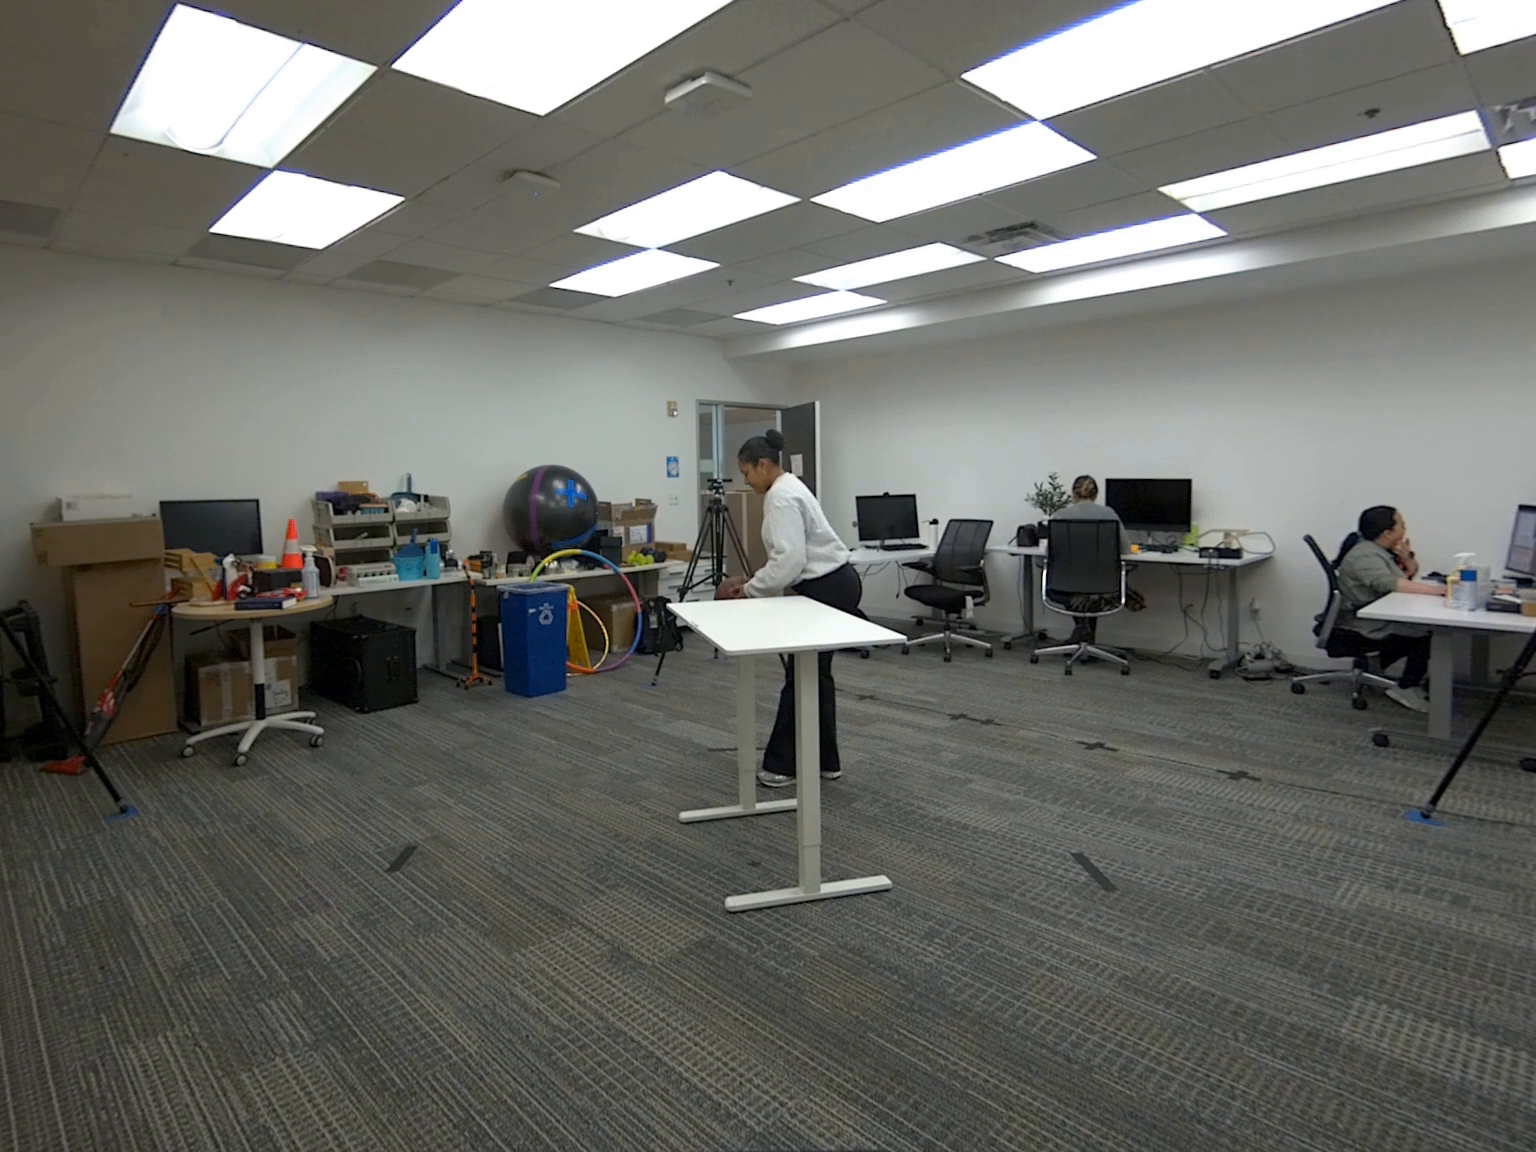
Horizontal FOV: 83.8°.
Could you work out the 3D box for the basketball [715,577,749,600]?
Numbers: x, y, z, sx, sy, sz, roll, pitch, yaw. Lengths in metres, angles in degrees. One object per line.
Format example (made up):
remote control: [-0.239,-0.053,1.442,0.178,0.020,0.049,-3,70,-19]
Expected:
basketball: [-0.122,0.118,4.024,0.236,0.235,0.237,-1,5,-2]
